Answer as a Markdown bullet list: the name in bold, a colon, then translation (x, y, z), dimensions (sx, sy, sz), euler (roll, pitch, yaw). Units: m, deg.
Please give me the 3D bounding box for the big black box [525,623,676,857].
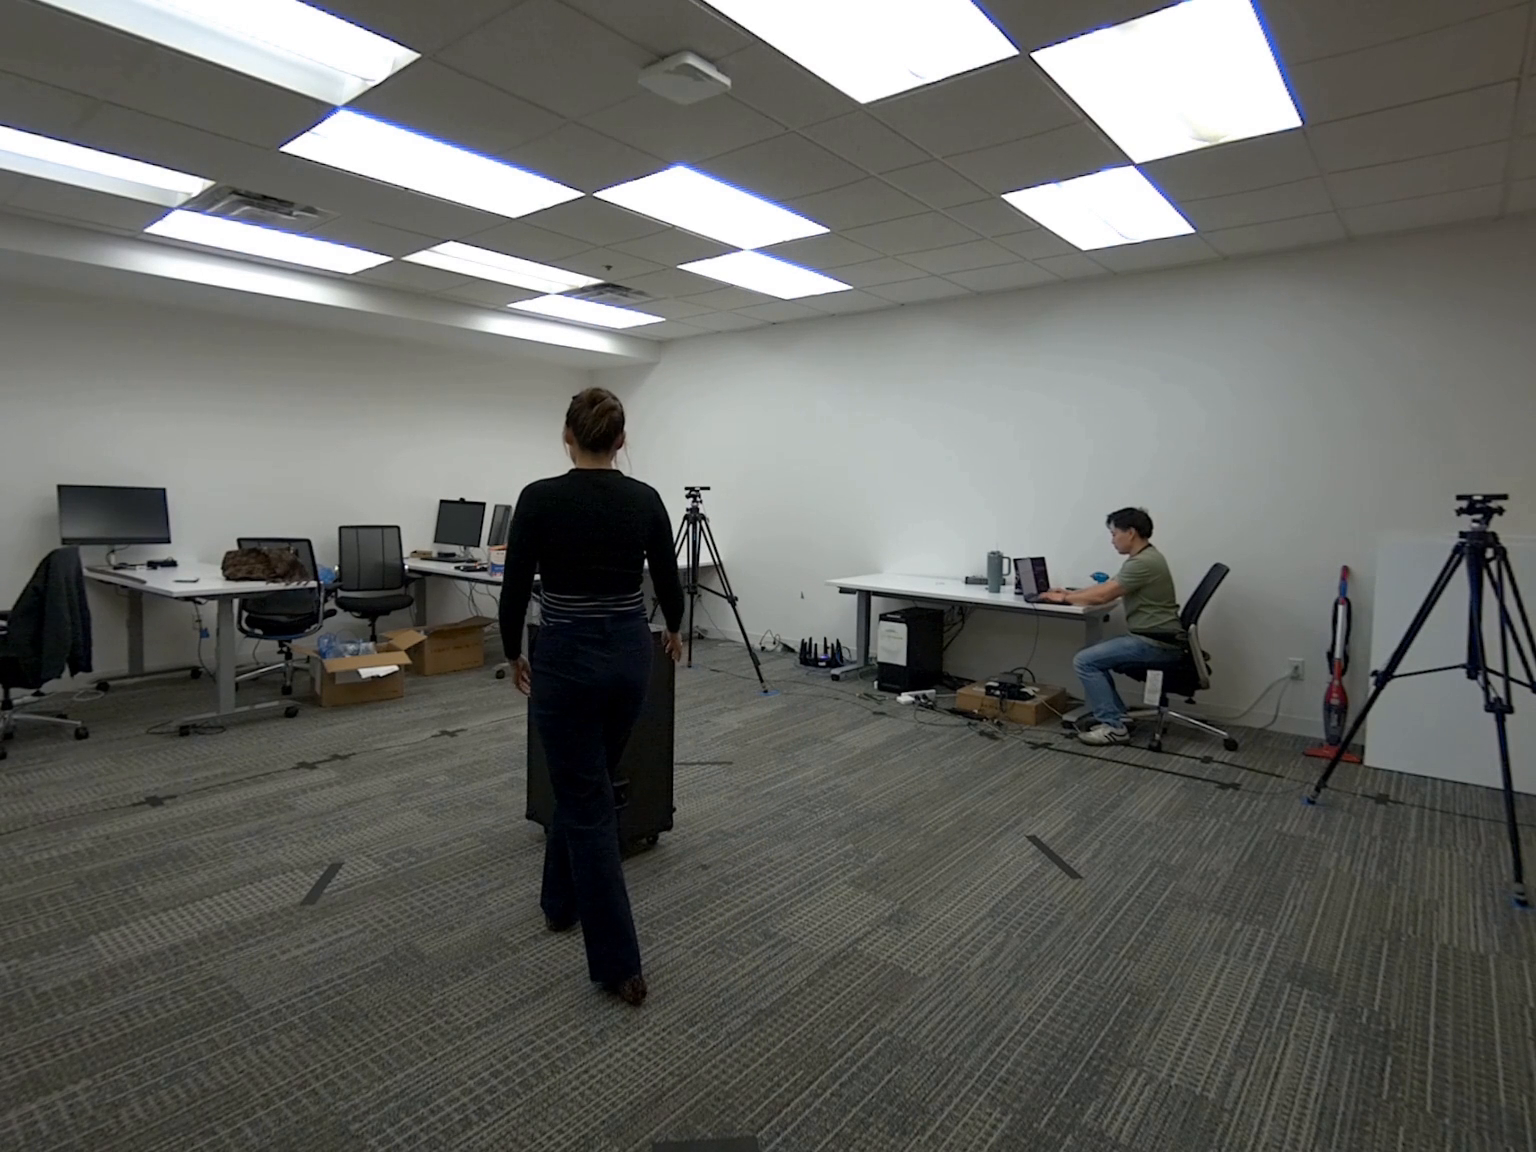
- **big black box**: translation (-0.662, 0.616, 3.320), dimensions (0.539, 0.860, 0.384), euler (3, 3, 43)
